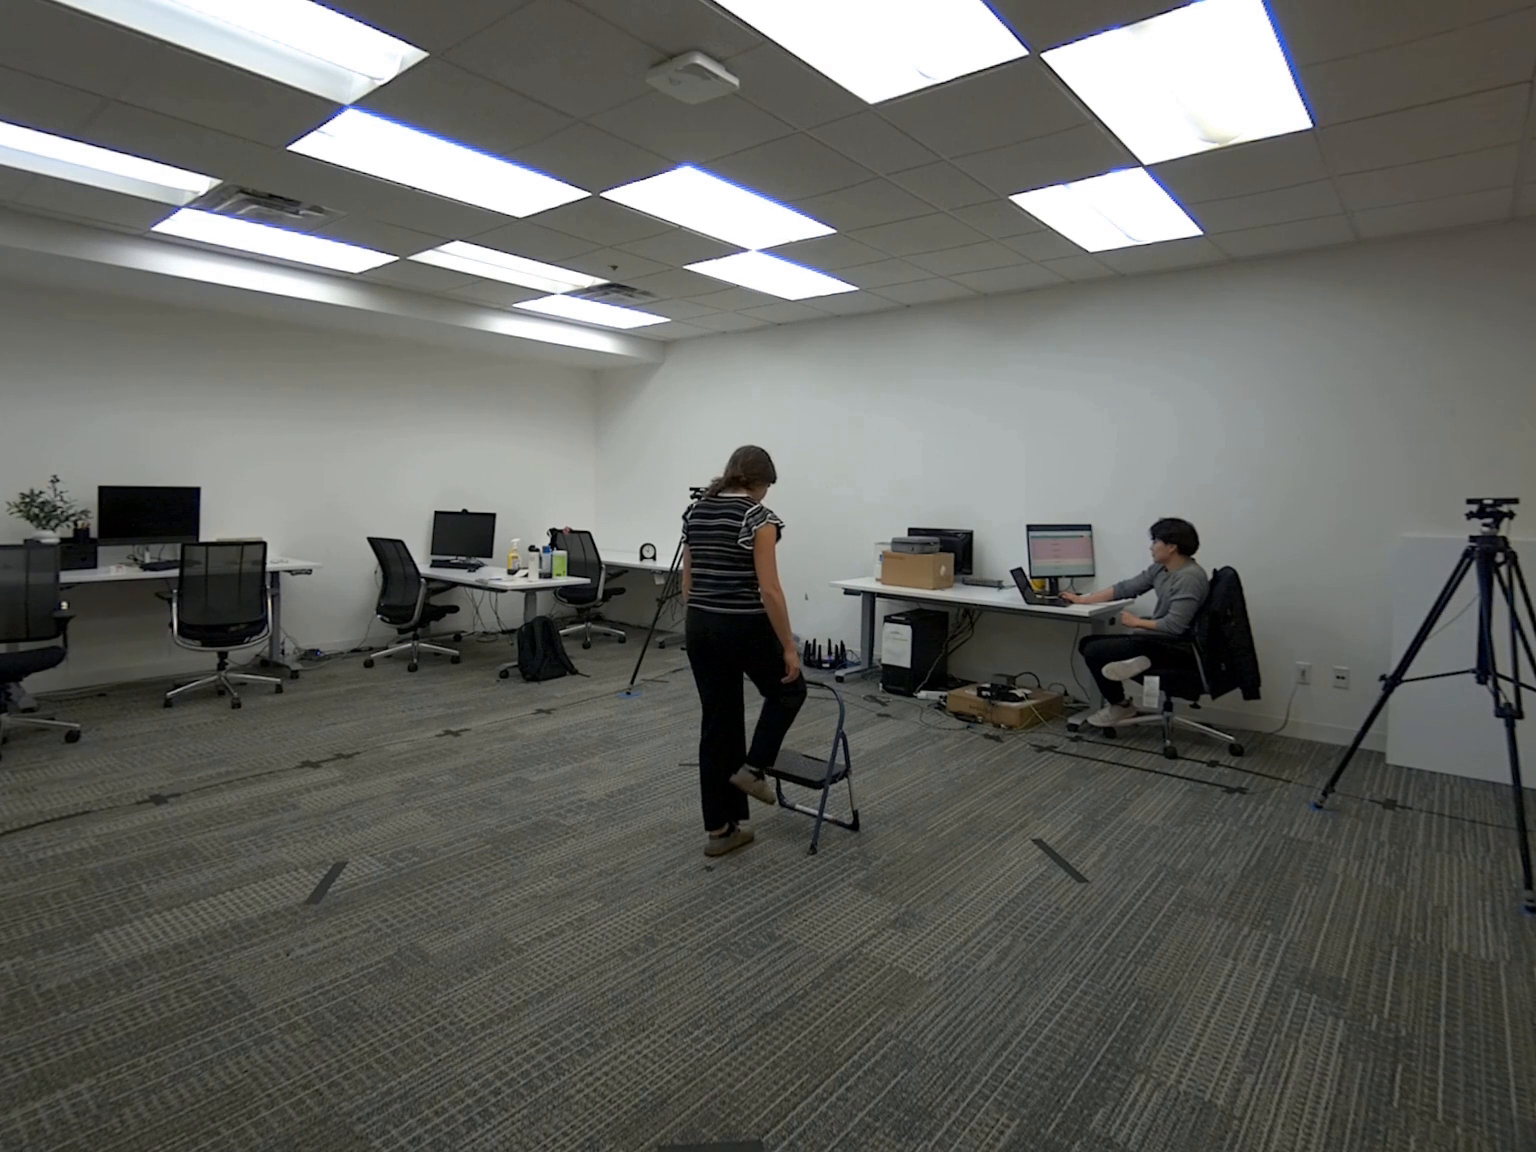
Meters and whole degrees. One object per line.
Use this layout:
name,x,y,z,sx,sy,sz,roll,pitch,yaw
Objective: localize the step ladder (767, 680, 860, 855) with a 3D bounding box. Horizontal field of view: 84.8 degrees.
step ladder,0.112,0.734,3.493,0.445,0.604,0.339,5,5,39
